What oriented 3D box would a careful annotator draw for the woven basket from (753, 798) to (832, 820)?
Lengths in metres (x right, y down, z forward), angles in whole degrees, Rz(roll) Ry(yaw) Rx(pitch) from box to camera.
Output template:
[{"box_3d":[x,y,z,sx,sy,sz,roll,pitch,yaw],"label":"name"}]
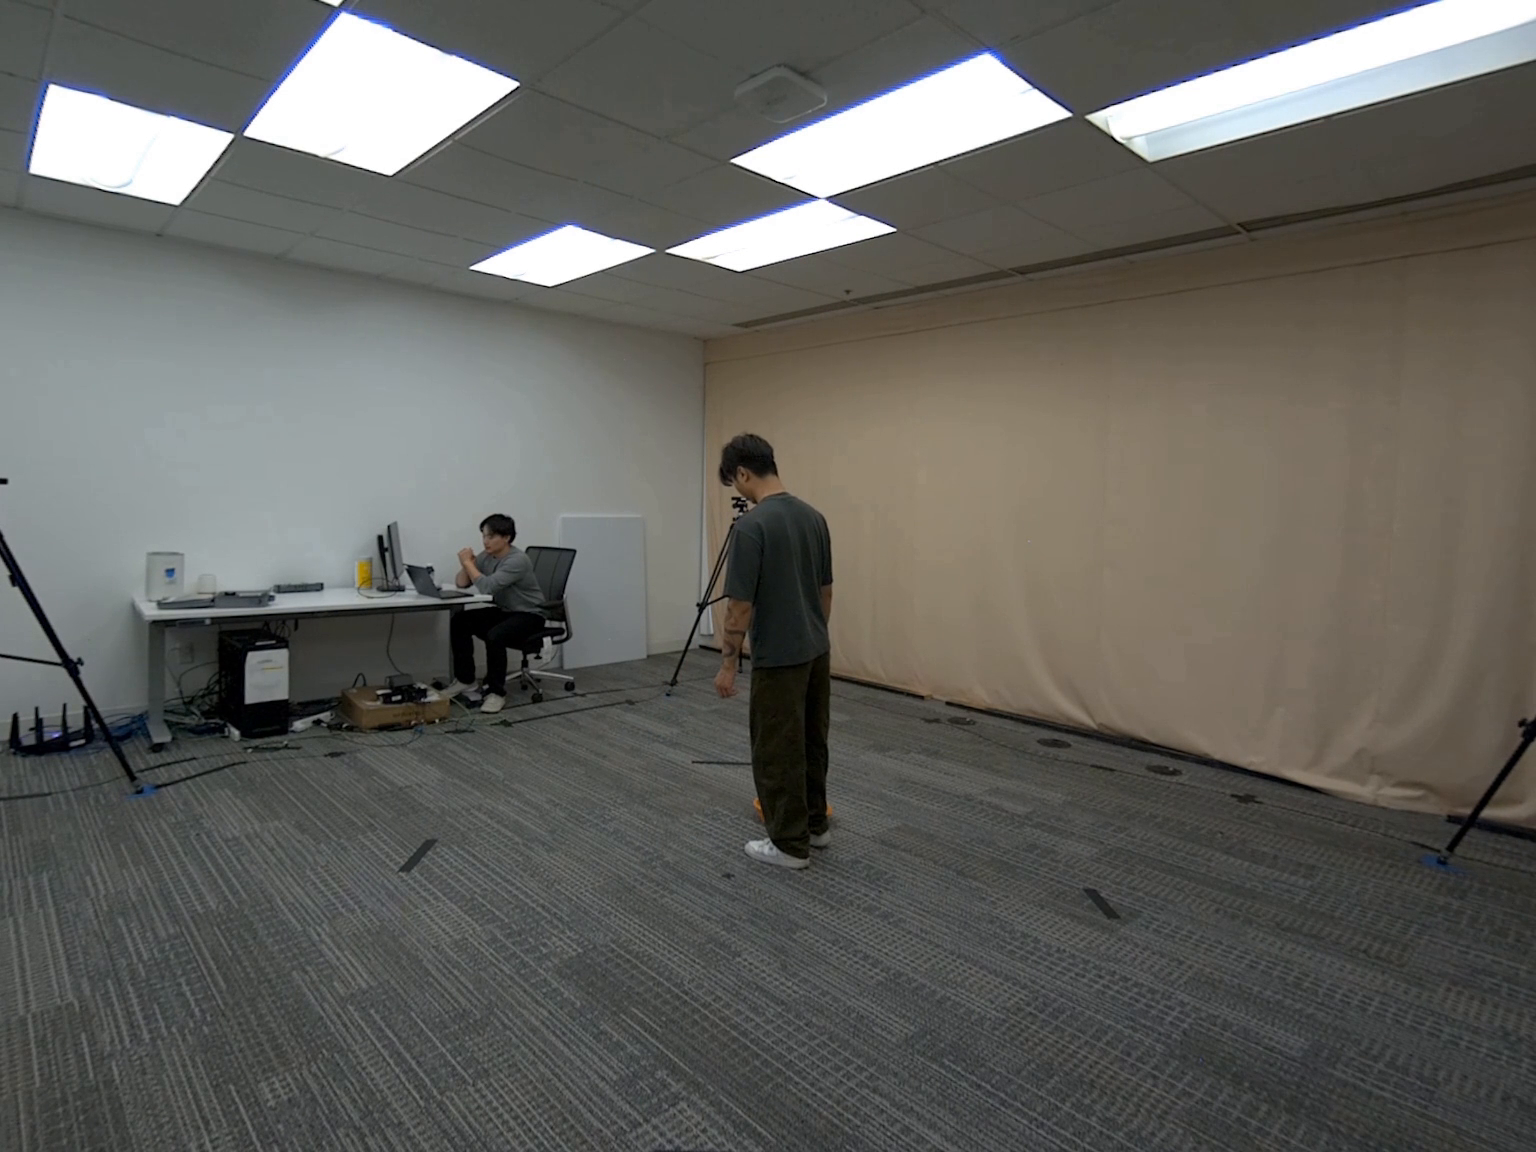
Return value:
[{"box_3d":[0.097,1.030,3.661,0.358,0.073,0.247,4,5,29],"label":"woven basket"}]
